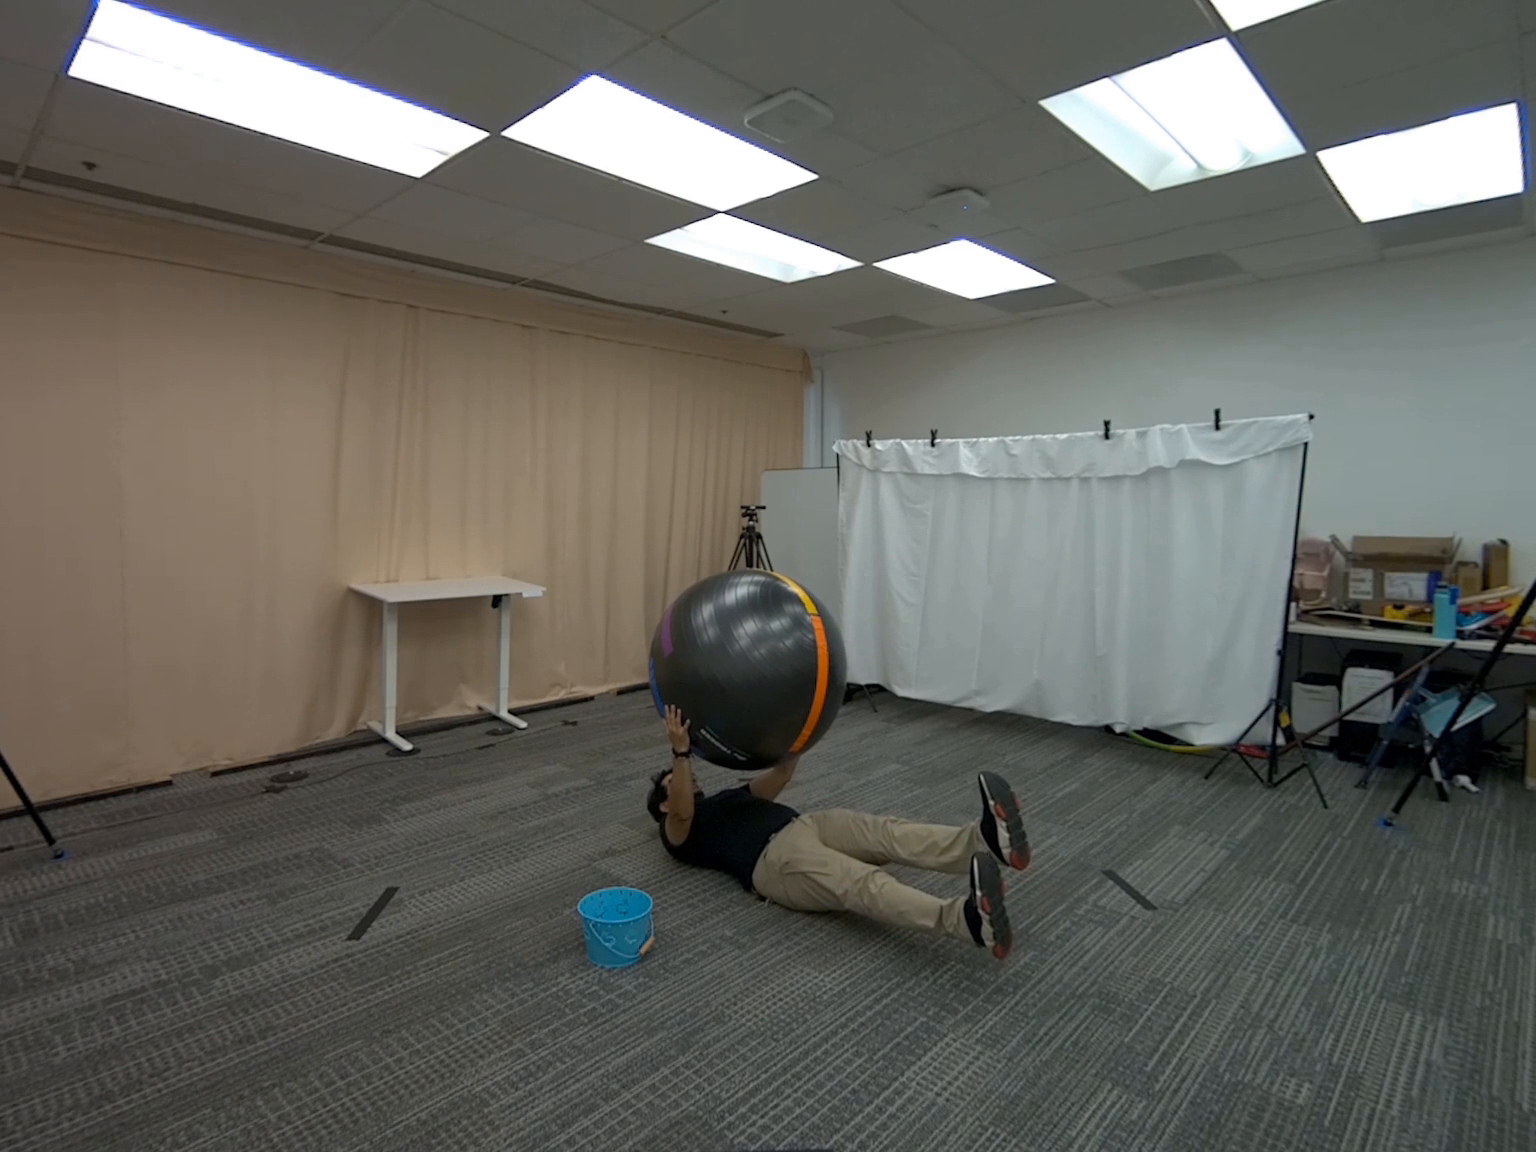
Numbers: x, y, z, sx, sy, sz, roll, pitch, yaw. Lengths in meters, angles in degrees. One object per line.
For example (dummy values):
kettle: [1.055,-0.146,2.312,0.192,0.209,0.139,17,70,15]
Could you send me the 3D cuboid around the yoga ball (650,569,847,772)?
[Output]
yoga ball: [-0.077,0.359,3.226,0.757,0.756,0.761,0,4,-2]
